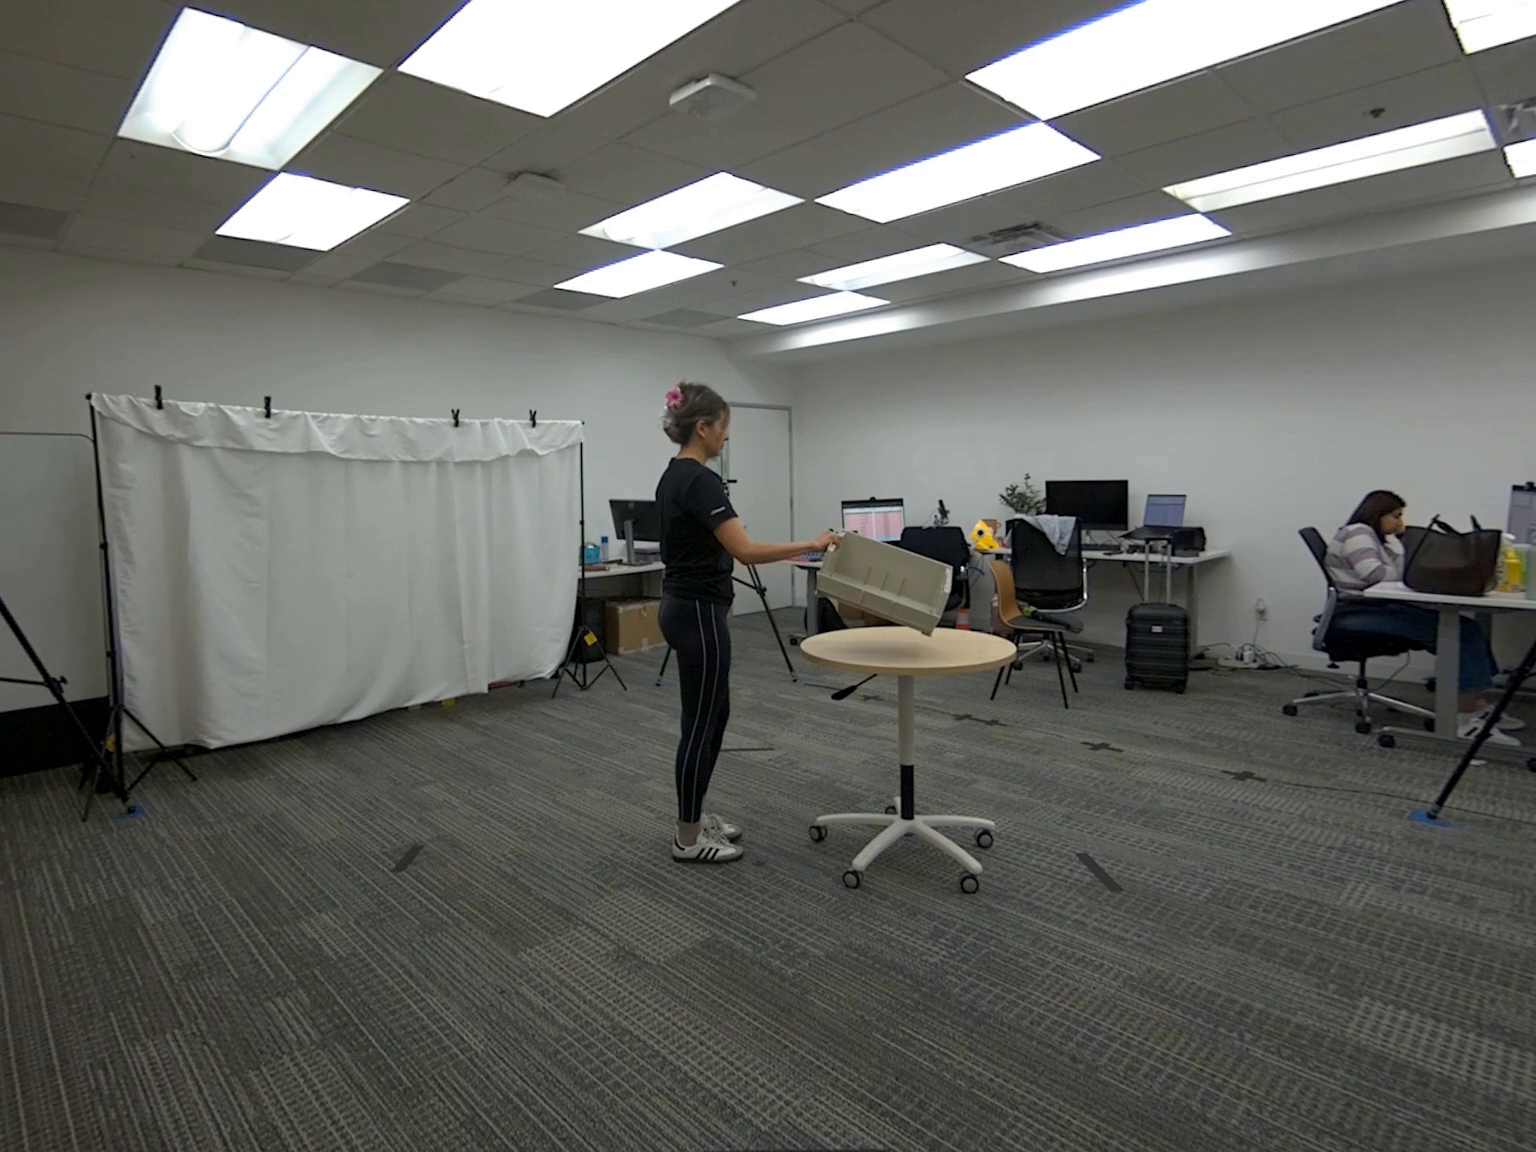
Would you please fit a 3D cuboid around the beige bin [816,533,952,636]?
[{"bbox_3d":[0.407,0.022,2.976,0.429,0.187,0.375,19,16,12],"label":"beige bin"}]
